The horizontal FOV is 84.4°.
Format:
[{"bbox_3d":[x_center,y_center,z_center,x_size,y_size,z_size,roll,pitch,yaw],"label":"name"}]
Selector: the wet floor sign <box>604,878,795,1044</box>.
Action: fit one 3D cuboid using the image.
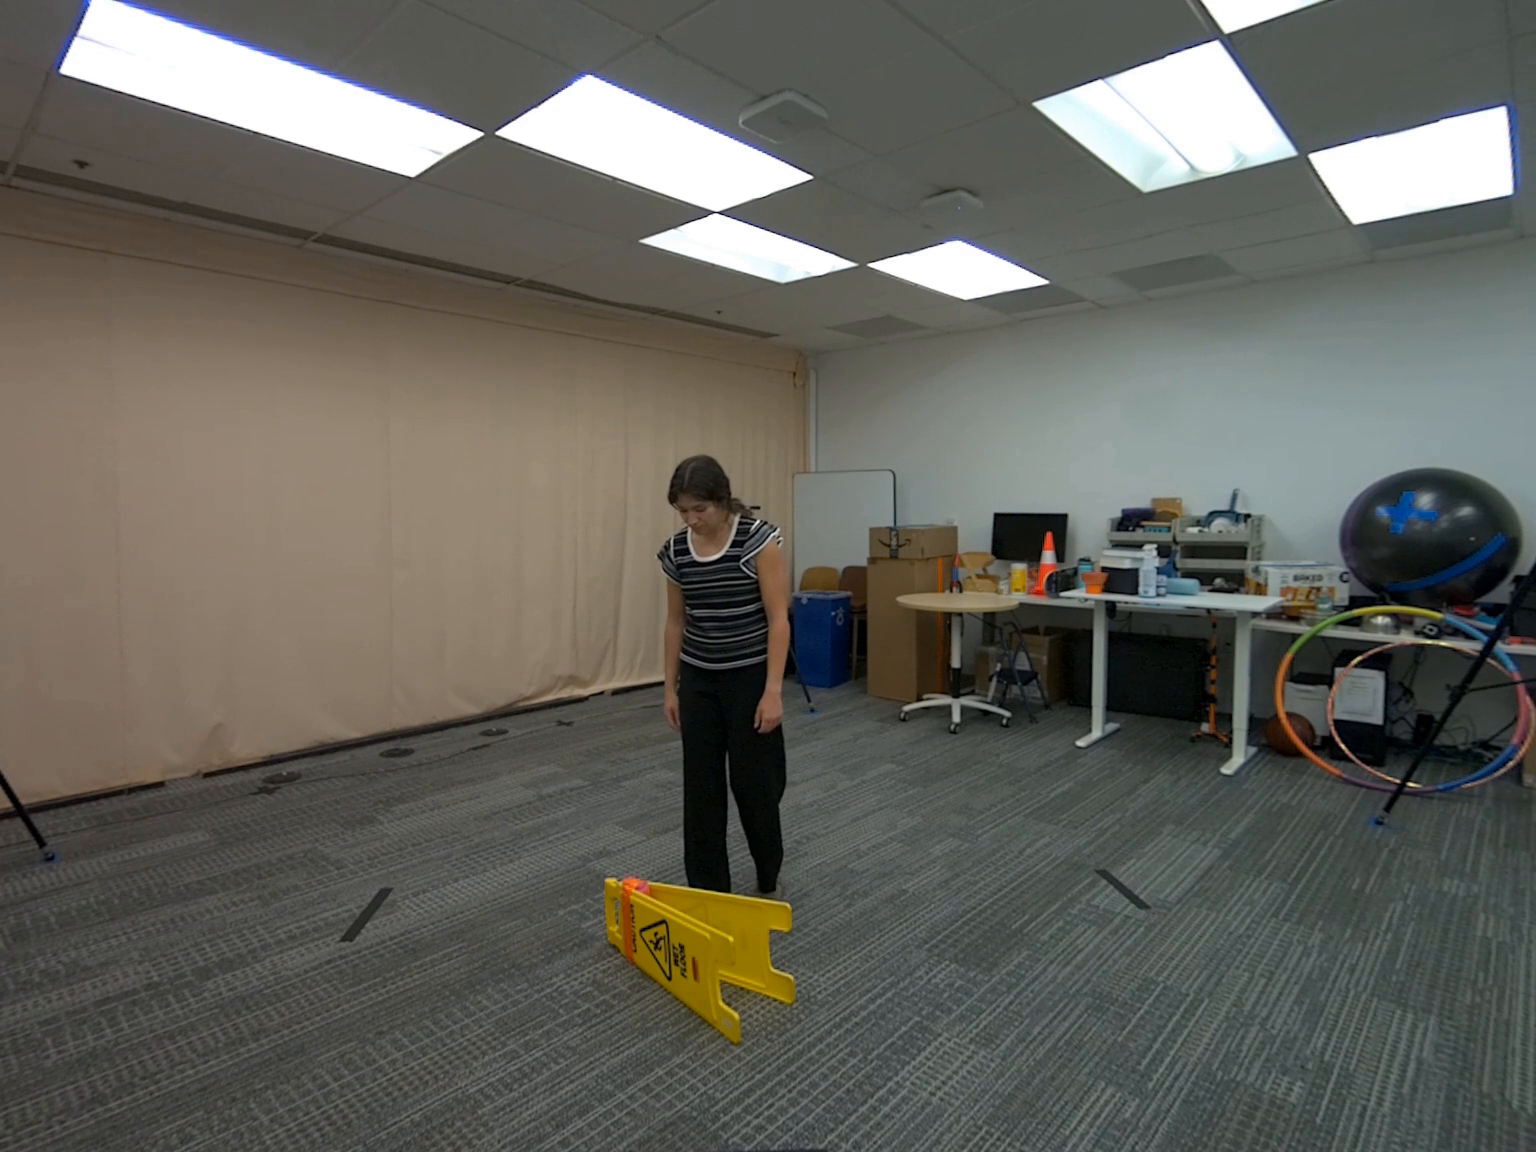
[{"bbox_3d":[-0.262,1.065,2.469,0.666,0.282,0.281,-1,4,39],"label":"wet floor sign"}]
